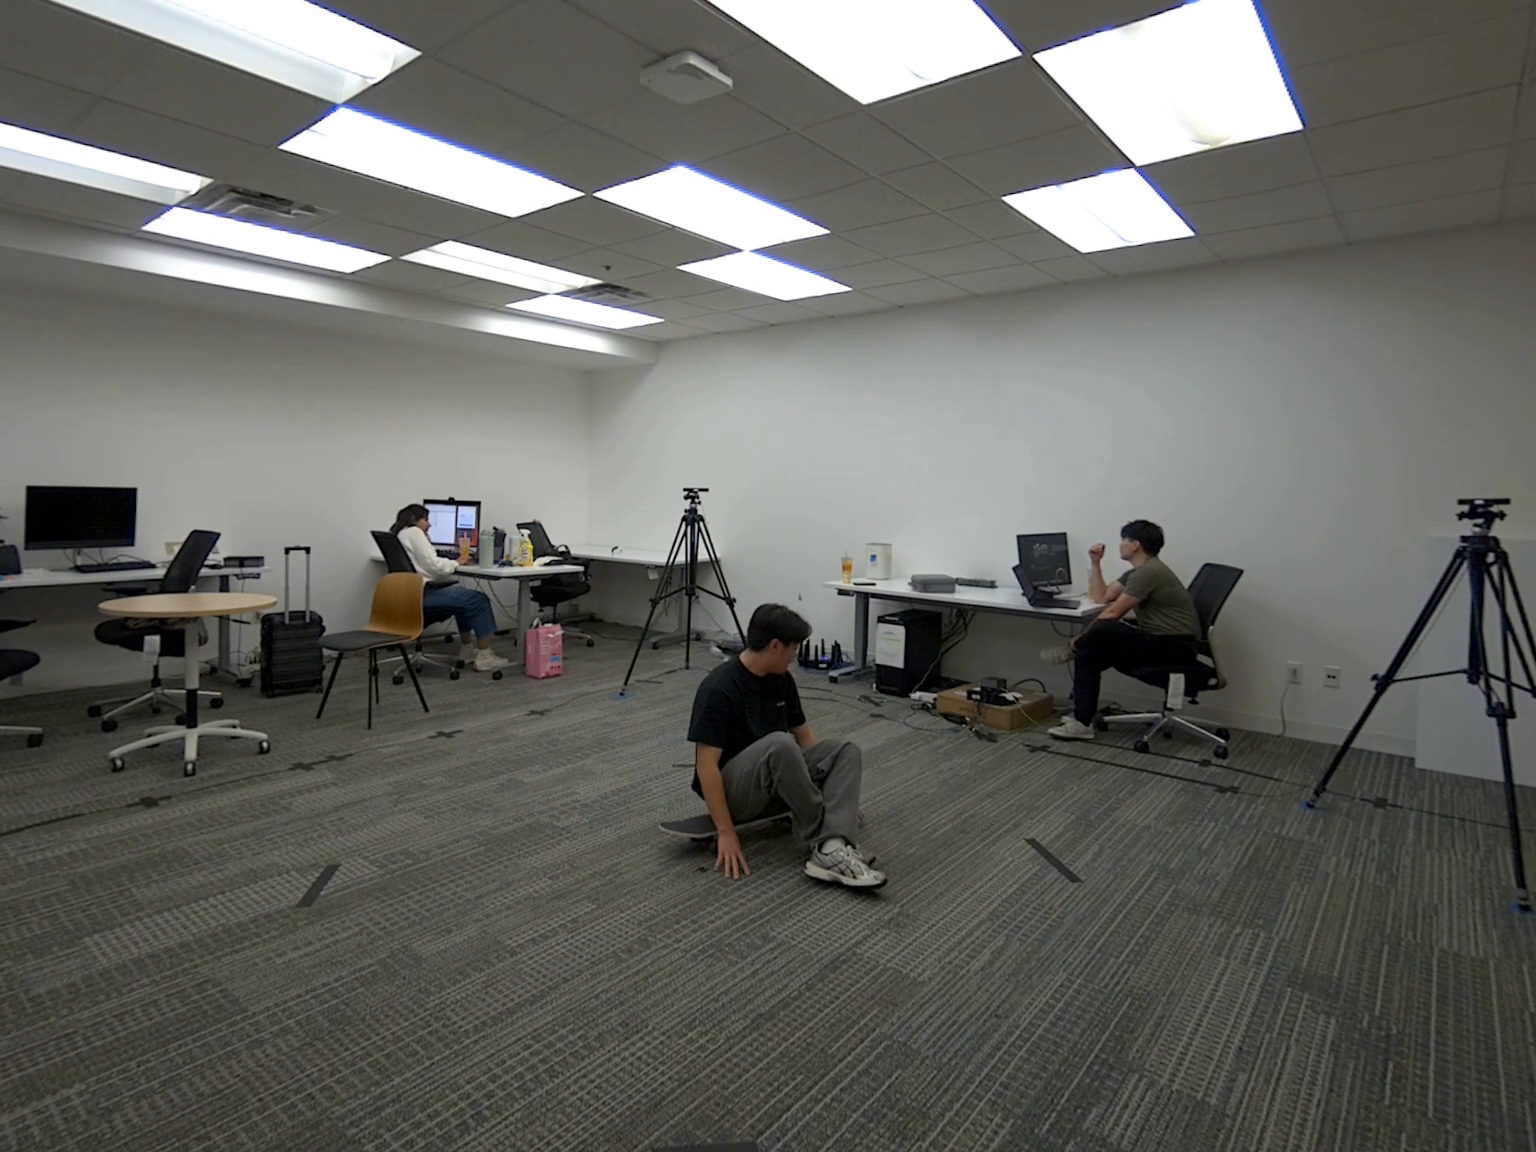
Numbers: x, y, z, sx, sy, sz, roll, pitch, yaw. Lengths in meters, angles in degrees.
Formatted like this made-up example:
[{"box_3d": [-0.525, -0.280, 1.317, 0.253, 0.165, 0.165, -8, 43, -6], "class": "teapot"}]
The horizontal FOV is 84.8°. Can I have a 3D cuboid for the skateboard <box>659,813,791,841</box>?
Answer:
[{"box_3d": [-0.096, 0.988, 3.432, 0.762, 0.110, 0.199, -2, 0, -36], "class": "skateboard"}]
